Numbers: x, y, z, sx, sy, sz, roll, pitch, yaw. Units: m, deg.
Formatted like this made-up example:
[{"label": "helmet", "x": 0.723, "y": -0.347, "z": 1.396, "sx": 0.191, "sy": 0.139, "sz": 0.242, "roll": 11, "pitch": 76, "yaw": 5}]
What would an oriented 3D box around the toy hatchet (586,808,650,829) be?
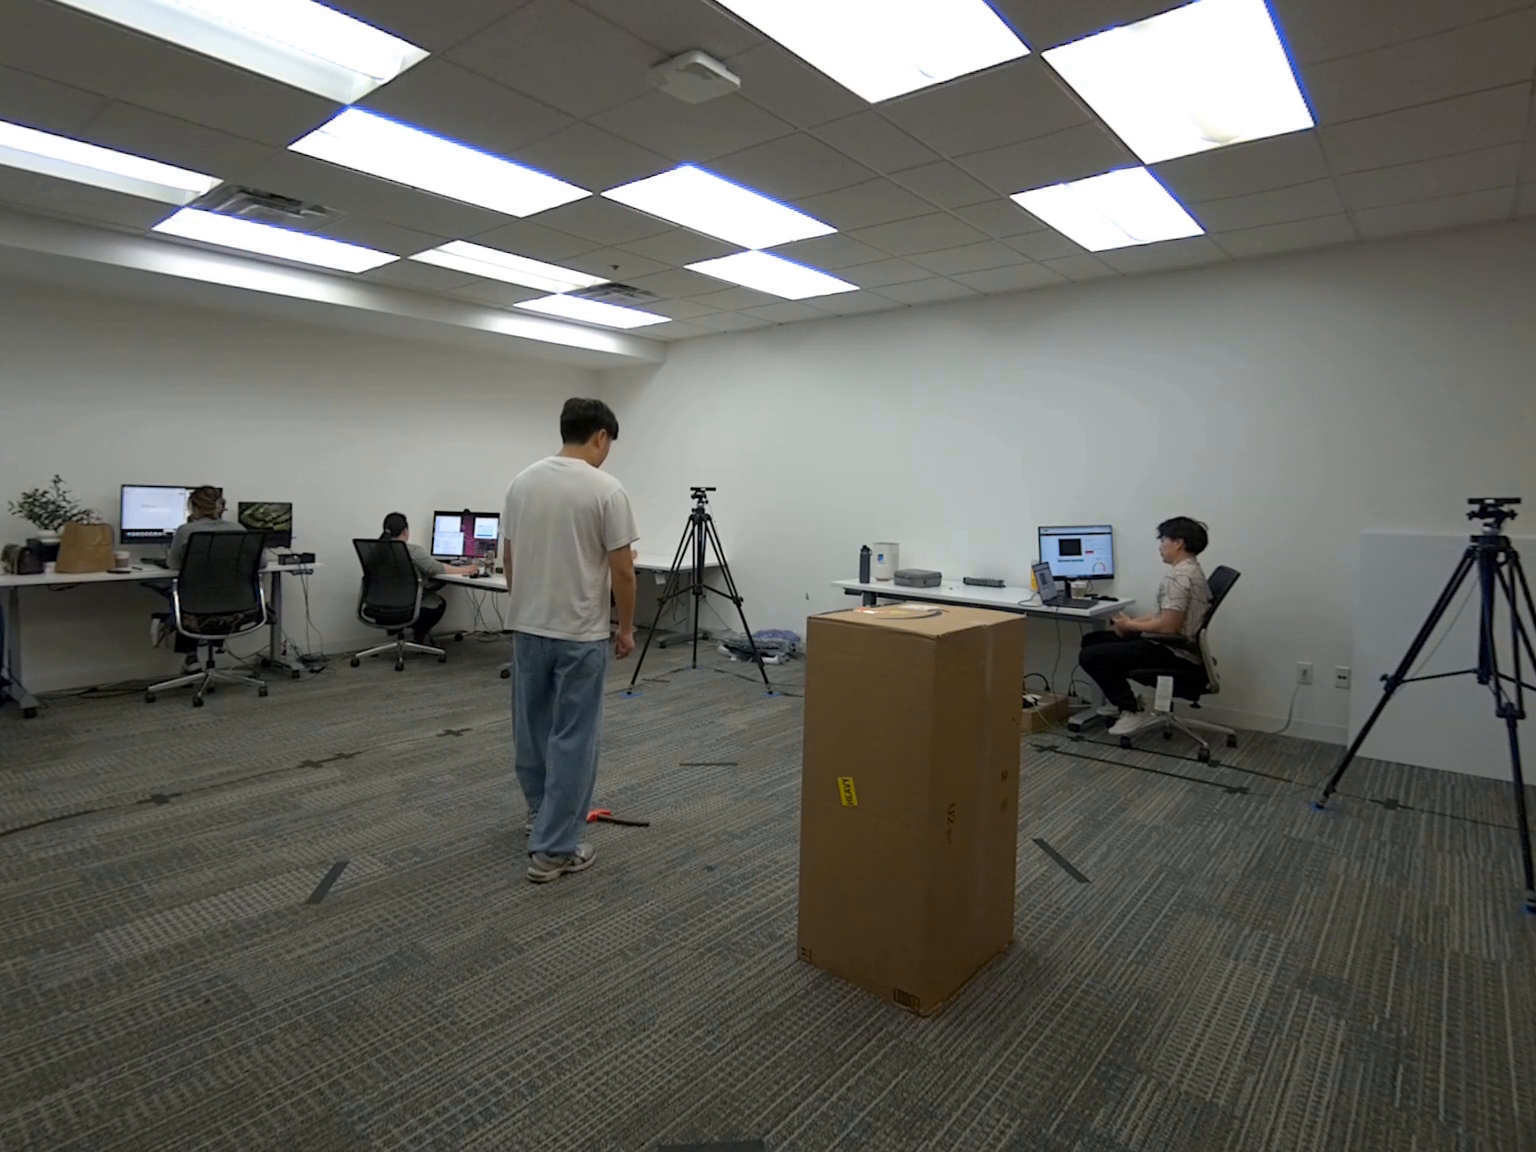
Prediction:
[{"label": "toy hatchet", "x": -0.633, "y": 1.007, "z": 3.552, "sx": 0.271, "sy": 0.029, "sz": 0.131, "roll": 3, "pitch": 5, "yaw": 4}]
